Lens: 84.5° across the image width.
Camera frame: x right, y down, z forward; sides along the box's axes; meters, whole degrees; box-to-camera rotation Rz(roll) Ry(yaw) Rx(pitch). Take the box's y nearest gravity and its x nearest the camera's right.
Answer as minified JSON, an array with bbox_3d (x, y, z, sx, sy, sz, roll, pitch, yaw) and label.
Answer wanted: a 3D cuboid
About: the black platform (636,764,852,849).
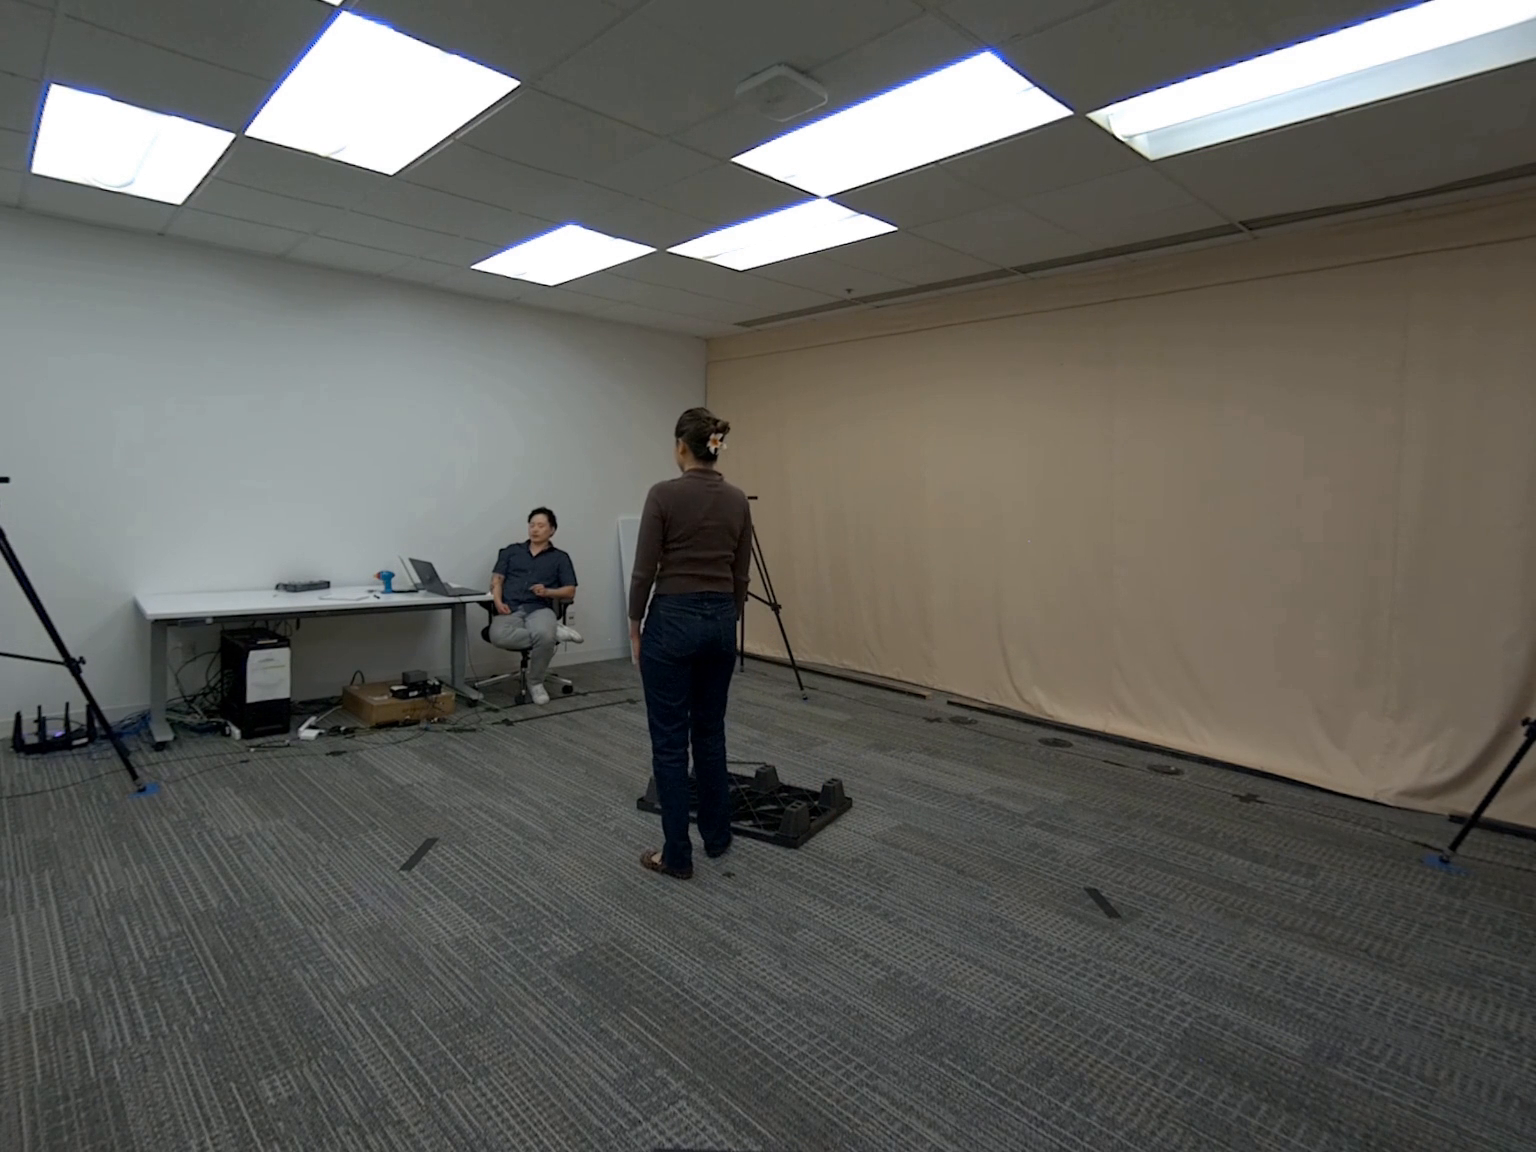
[{"bbox_3d":[-0.103,0.977,3.795,0.823,0.143,0.594,4,6,29],"label":"black platform"}]
